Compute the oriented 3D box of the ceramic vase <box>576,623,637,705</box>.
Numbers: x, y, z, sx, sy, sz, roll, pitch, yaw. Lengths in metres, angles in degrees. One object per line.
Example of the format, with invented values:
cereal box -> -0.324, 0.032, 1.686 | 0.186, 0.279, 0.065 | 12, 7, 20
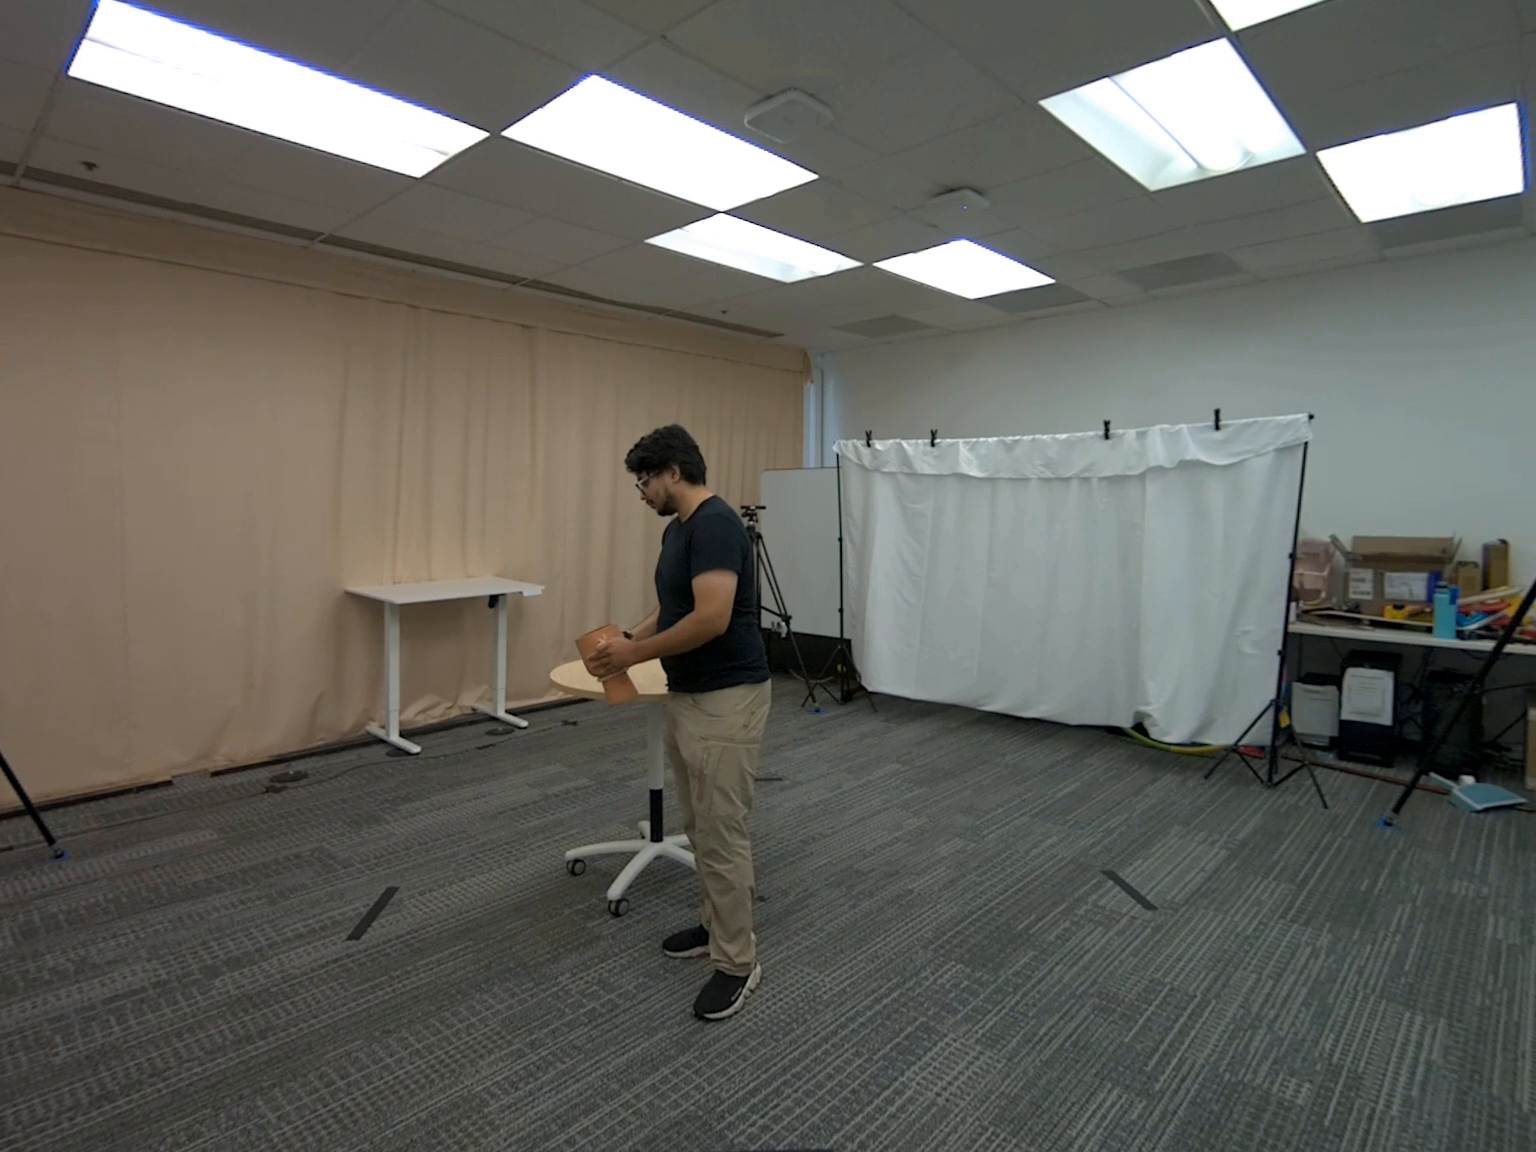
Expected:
ceramic vase -> -0.464, 0.264, 2.492 | 0.136, 0.219, 0.157 | -22, 1, 17
